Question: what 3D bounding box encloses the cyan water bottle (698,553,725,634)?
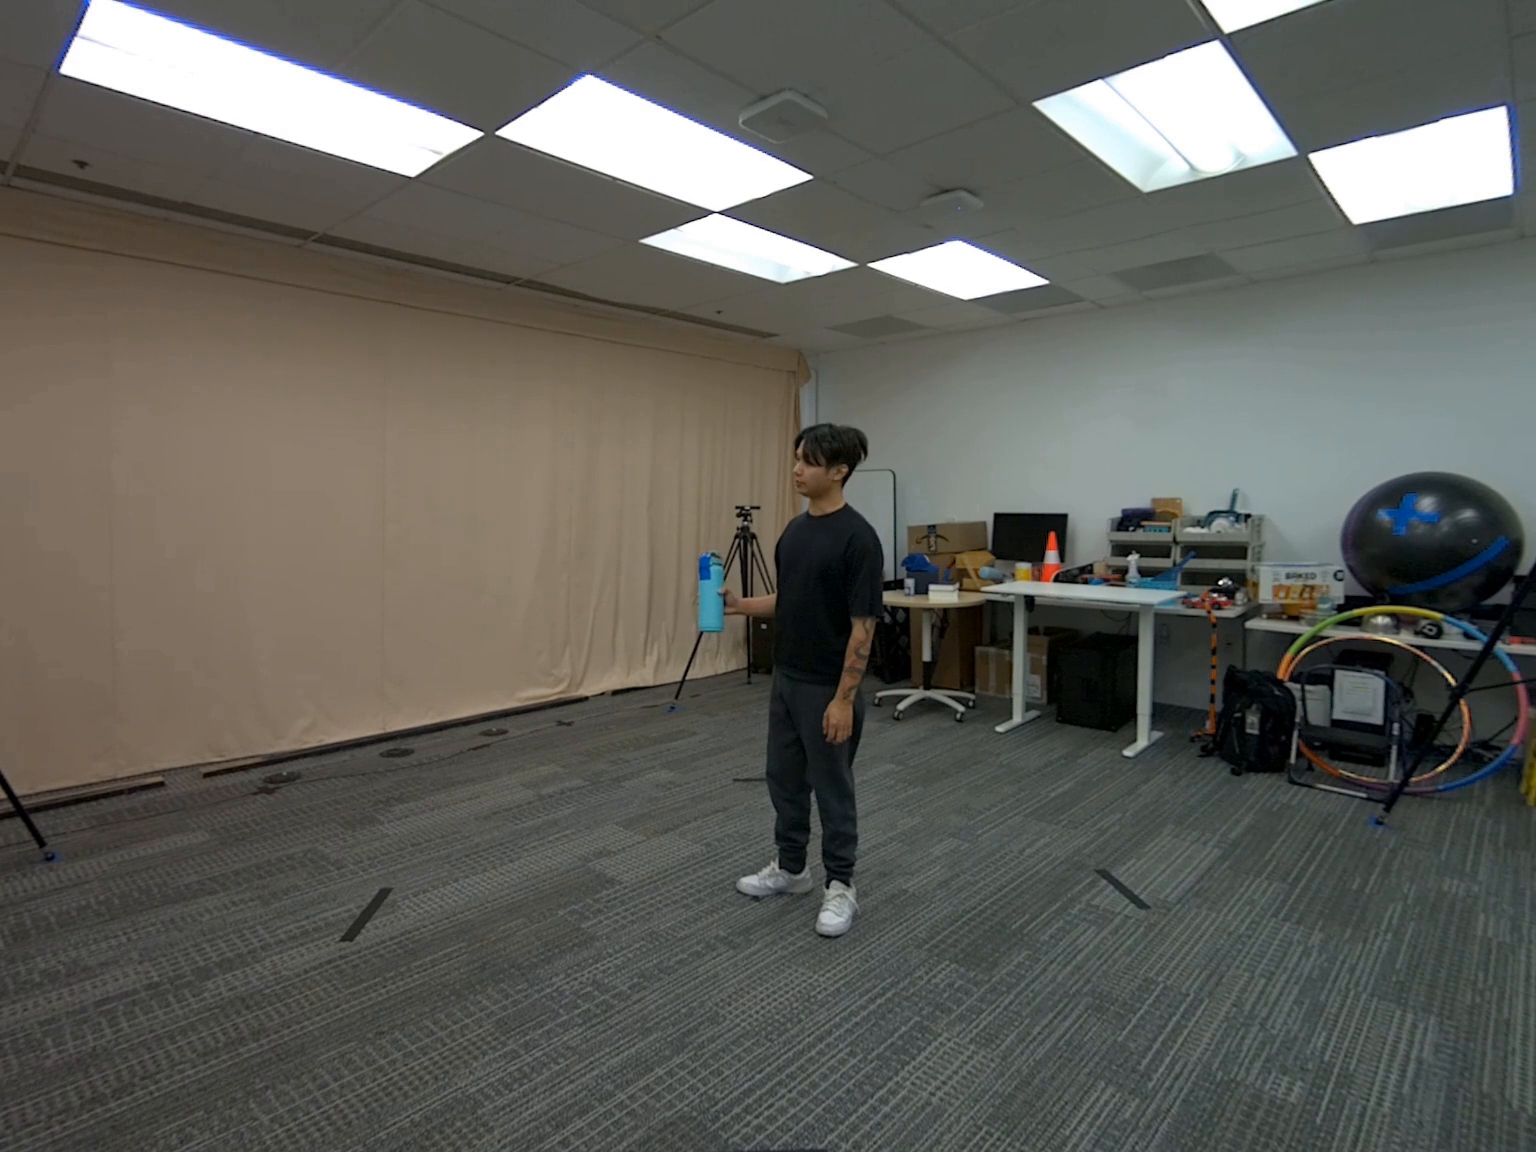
[{"bbox_3d":[-0.195,0.055,2.957,0.092,0.285,0.092,-2,-7,-2],"label":"cyan water bottle"}]
